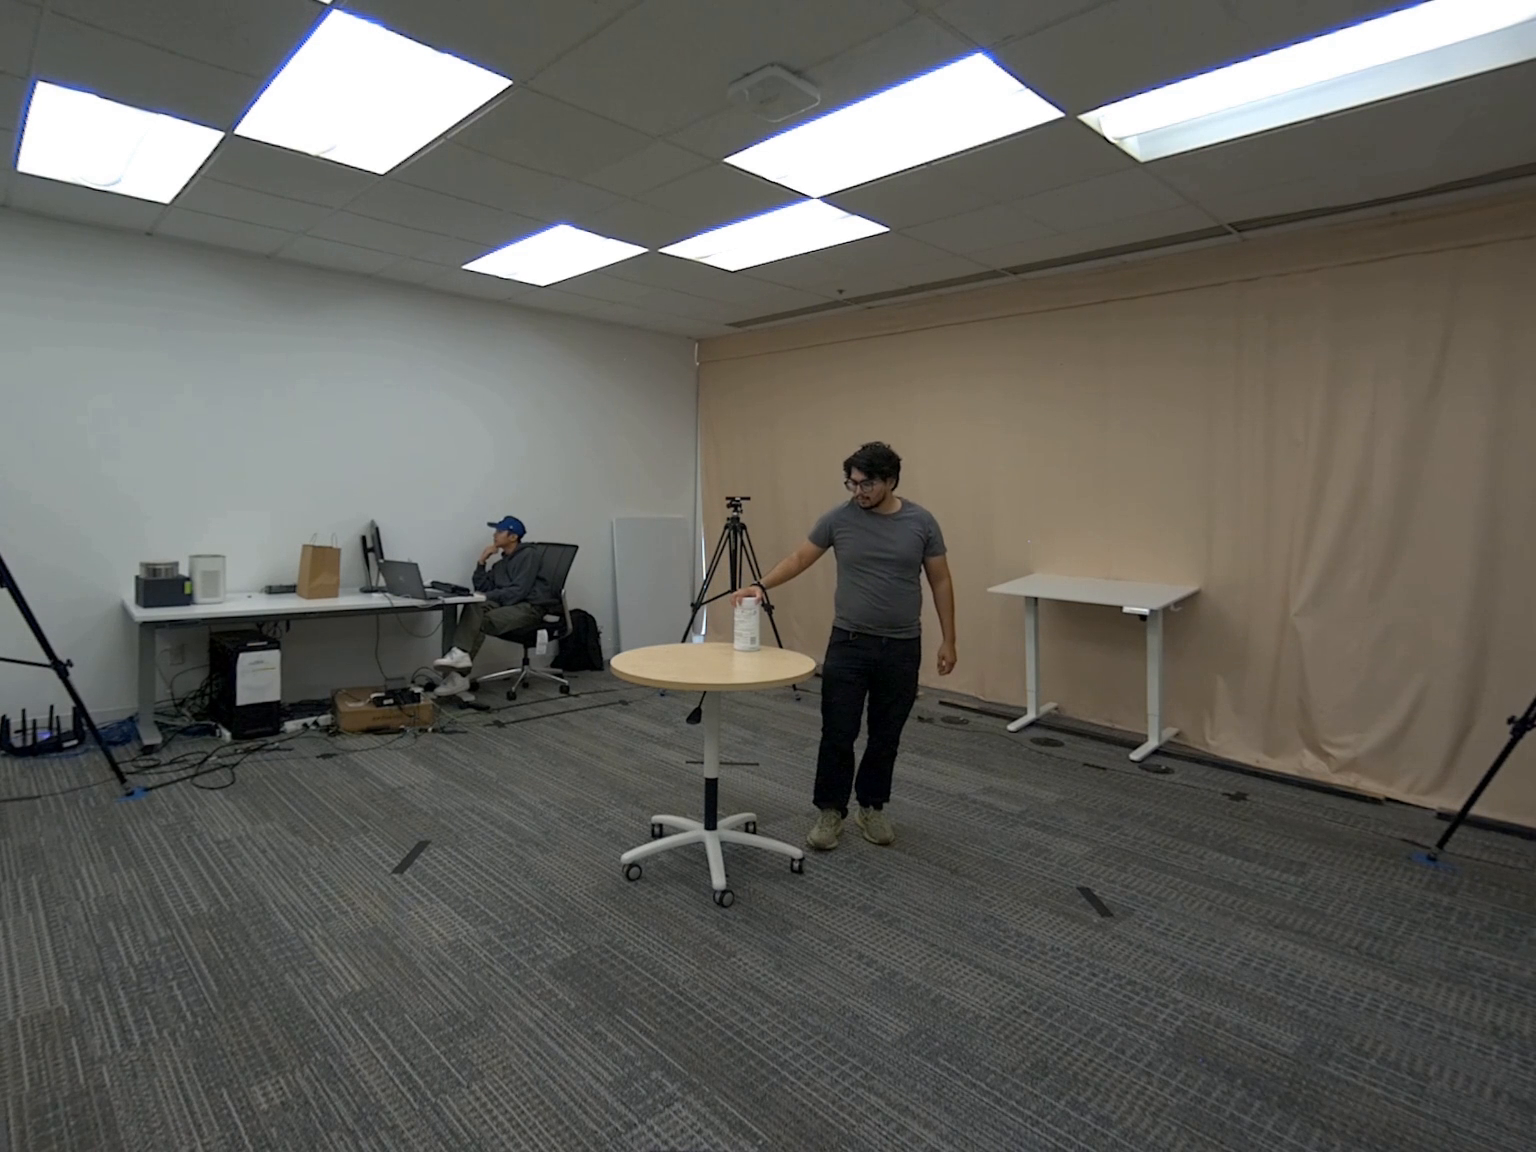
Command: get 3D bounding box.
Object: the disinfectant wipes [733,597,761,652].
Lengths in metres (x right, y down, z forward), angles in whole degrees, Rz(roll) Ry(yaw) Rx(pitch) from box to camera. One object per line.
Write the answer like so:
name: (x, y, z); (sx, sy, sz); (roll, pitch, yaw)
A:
disinfectant wipes: (-0.087, 0.189, 3.396); (0.118, 0.217, 0.118); (3, 3, -2)
